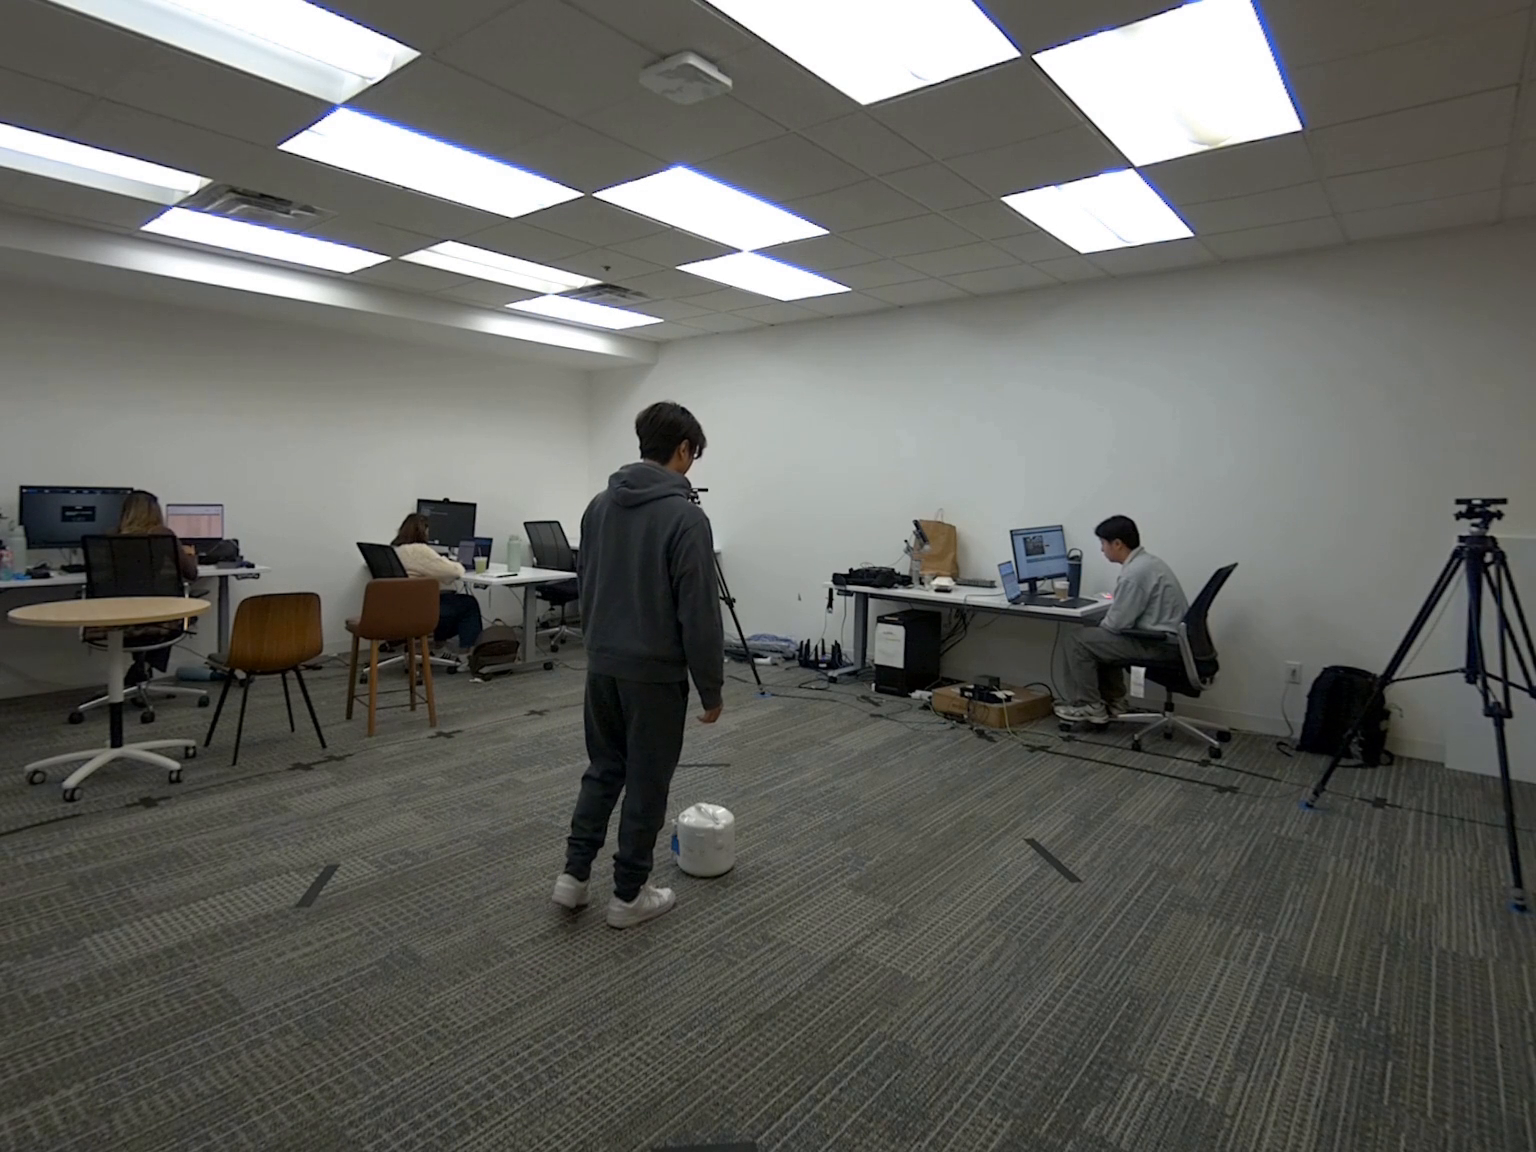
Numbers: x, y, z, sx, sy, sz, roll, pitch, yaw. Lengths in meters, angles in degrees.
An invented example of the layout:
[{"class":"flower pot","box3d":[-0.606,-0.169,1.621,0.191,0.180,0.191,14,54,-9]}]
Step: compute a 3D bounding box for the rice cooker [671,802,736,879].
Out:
[{"class":"rice cooker","box3d":[-0.238,0.950,3.119,0.212,0.232,0.227,-2,5,-29]}]
